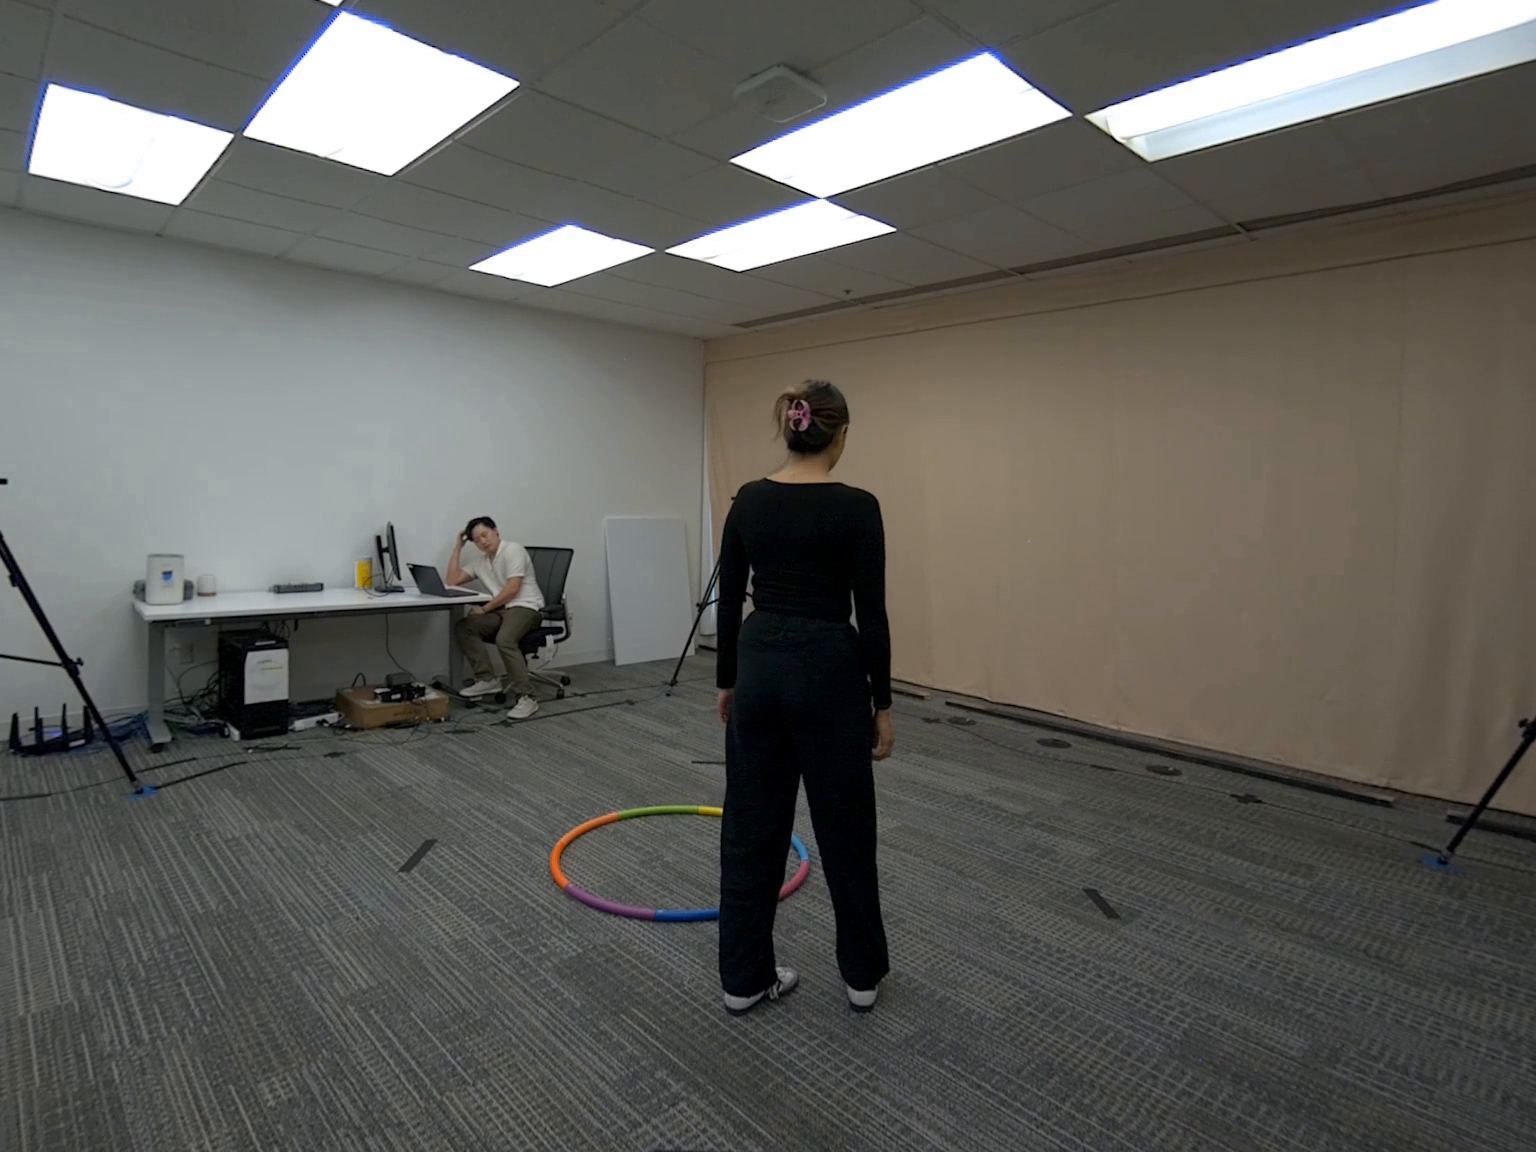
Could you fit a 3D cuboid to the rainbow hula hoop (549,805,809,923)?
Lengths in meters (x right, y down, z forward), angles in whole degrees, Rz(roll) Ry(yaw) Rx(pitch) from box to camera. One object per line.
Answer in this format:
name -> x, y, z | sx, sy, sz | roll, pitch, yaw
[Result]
rainbow hula hoop -> -0.339, 1.062, 3.240 | 0.978, 0.035, 0.982 | 2, 5, -1
